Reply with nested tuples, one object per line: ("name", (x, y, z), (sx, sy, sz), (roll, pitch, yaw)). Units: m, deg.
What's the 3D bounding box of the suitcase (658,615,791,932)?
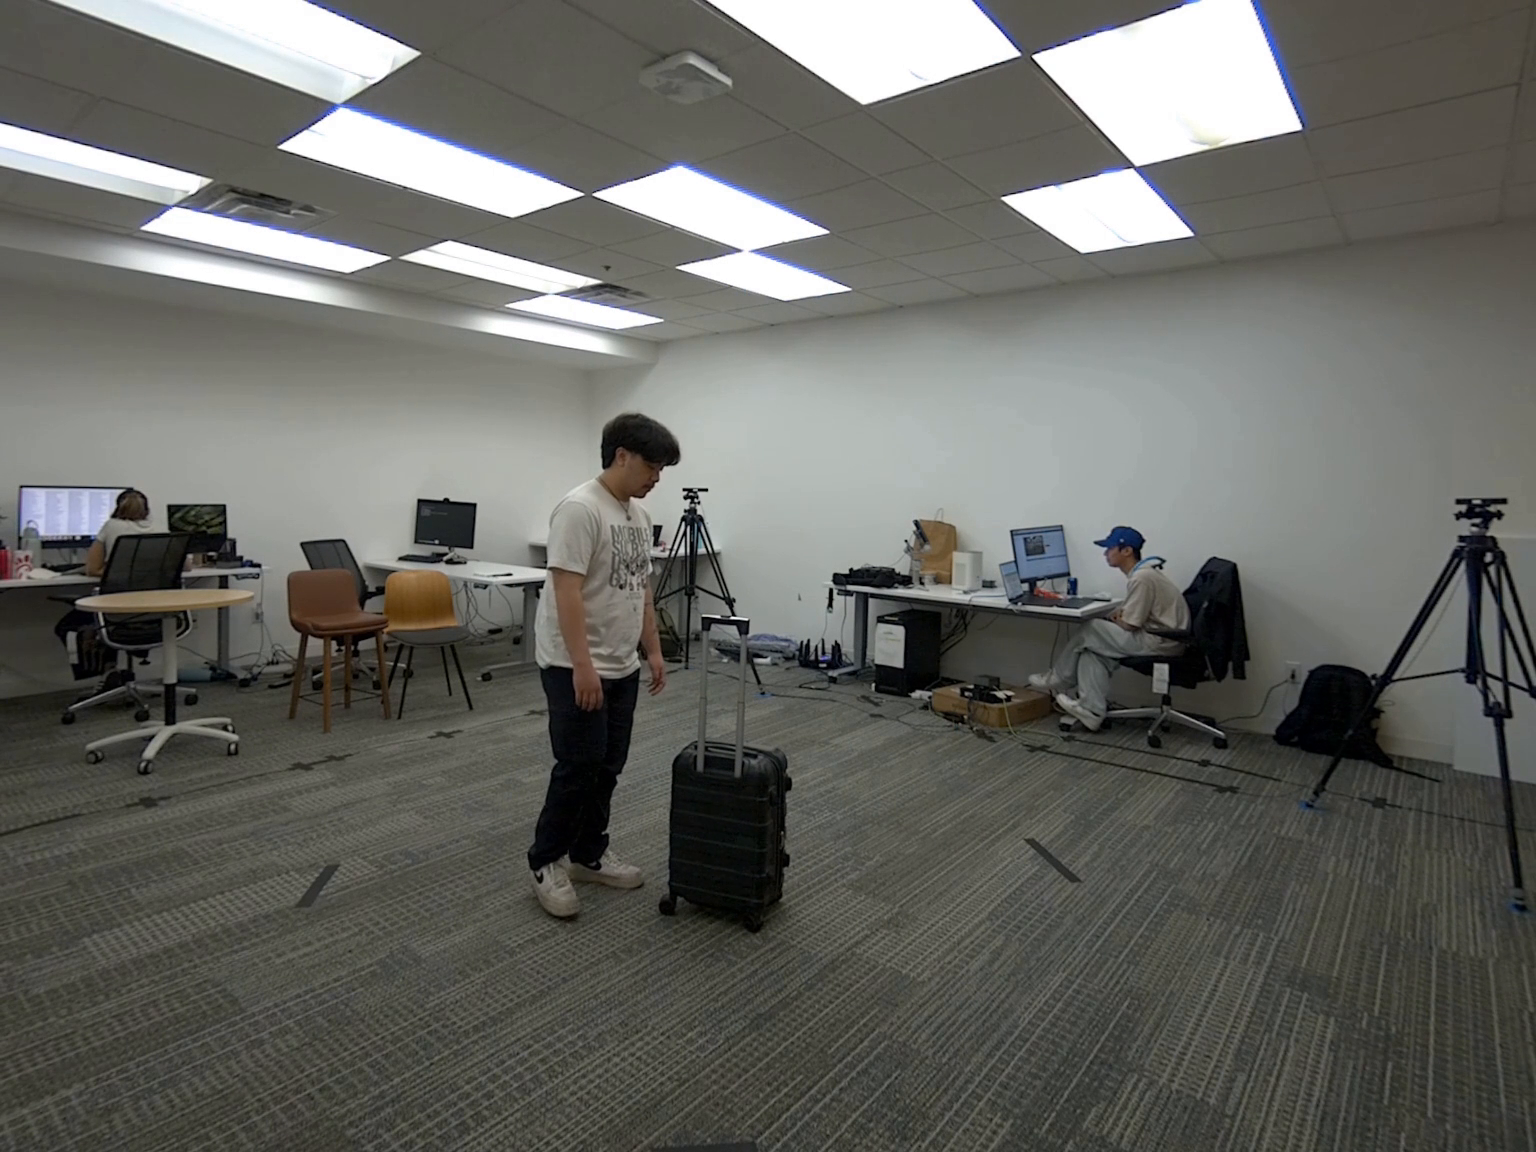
("suitcase", (-0.129, 0.627, 2.803), (0.393, 0.978, 0.251), (4, 1, 20))
